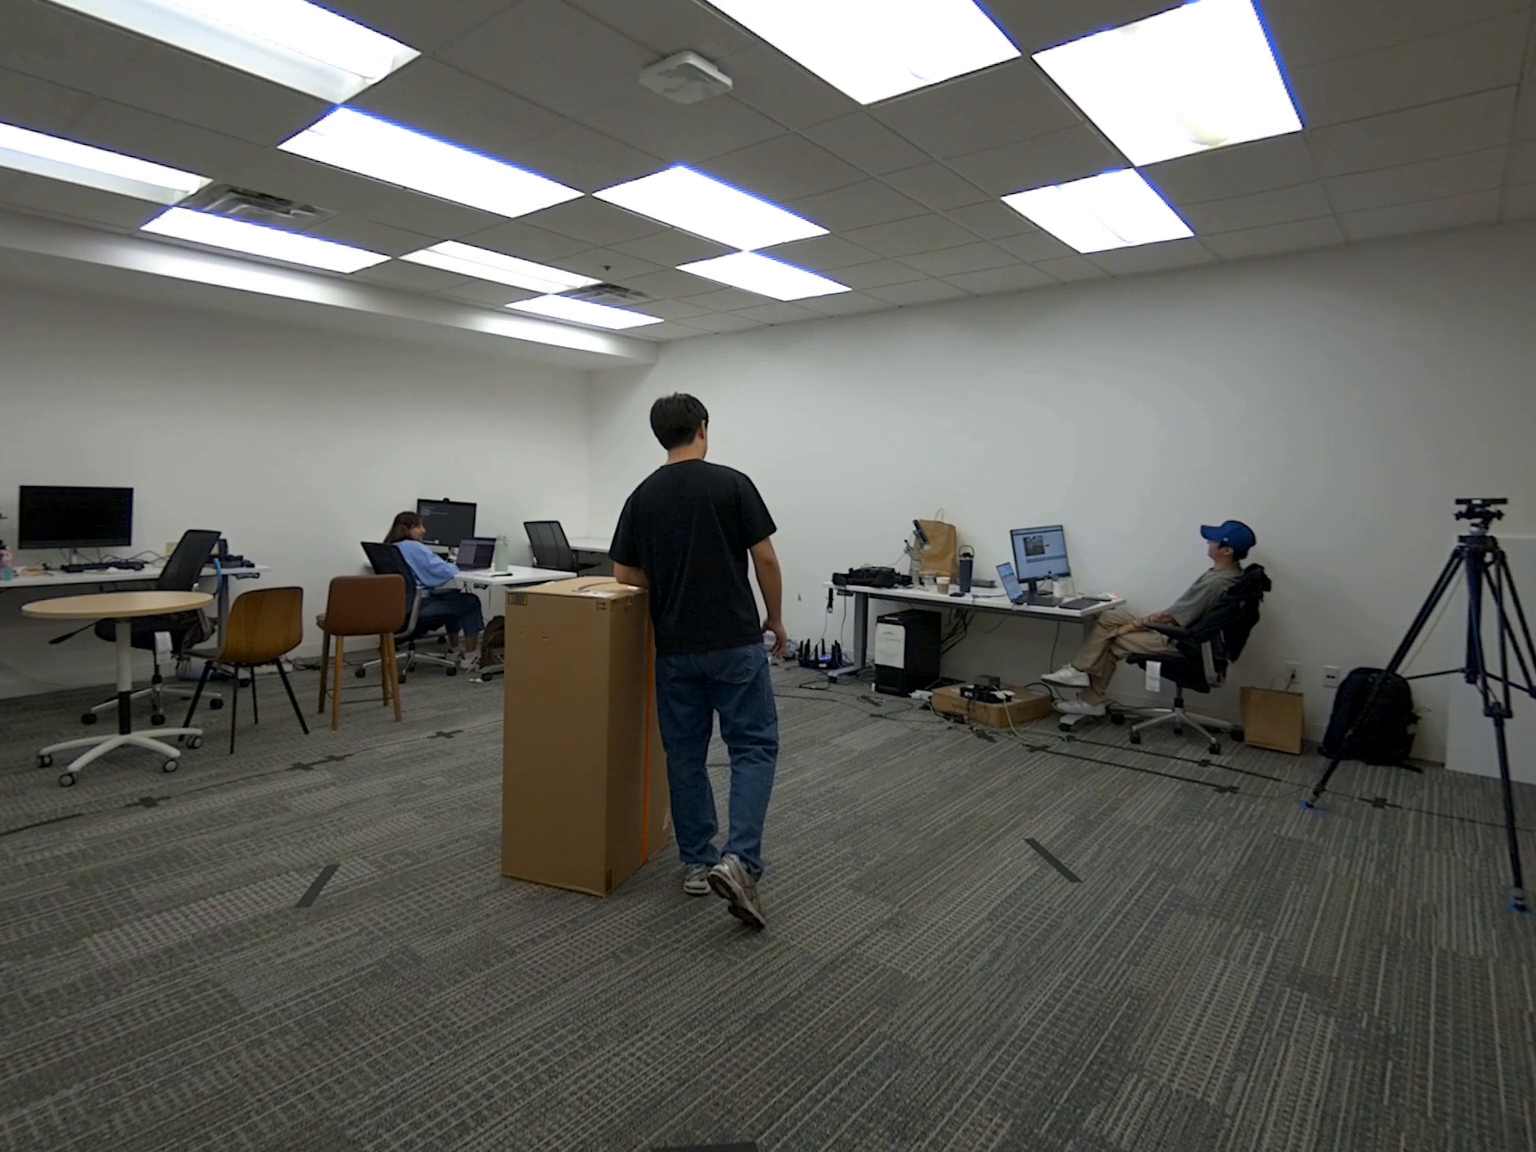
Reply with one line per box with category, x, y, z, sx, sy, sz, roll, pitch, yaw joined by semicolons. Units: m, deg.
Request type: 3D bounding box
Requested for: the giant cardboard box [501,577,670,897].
giant cardboard box;-0.664;0.540;3.194;0.457;1.024;0.572;3;4;20
